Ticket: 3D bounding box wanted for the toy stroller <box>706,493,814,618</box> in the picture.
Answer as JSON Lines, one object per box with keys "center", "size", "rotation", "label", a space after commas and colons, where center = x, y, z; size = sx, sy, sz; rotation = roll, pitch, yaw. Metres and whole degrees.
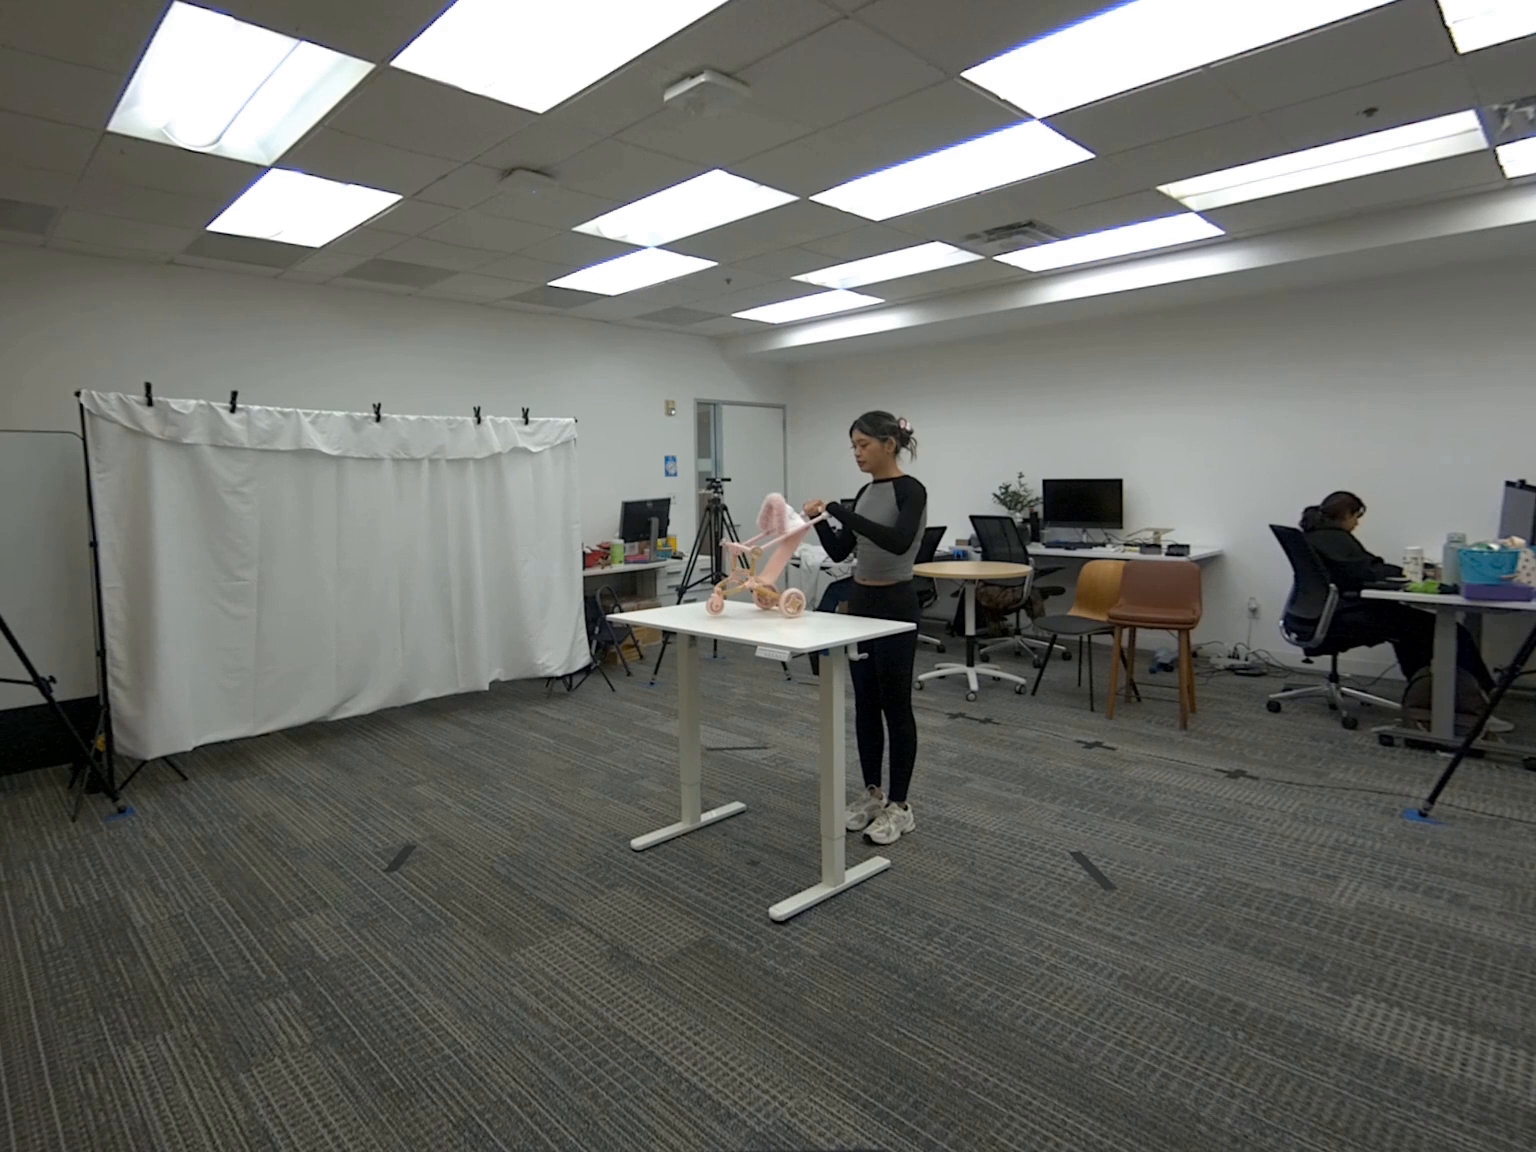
{"center": [-0.006, -0.076, 3.214], "size": [0.335, 0.536, 0.286], "rotation": [17, -3, -17], "label": "toy stroller"}
